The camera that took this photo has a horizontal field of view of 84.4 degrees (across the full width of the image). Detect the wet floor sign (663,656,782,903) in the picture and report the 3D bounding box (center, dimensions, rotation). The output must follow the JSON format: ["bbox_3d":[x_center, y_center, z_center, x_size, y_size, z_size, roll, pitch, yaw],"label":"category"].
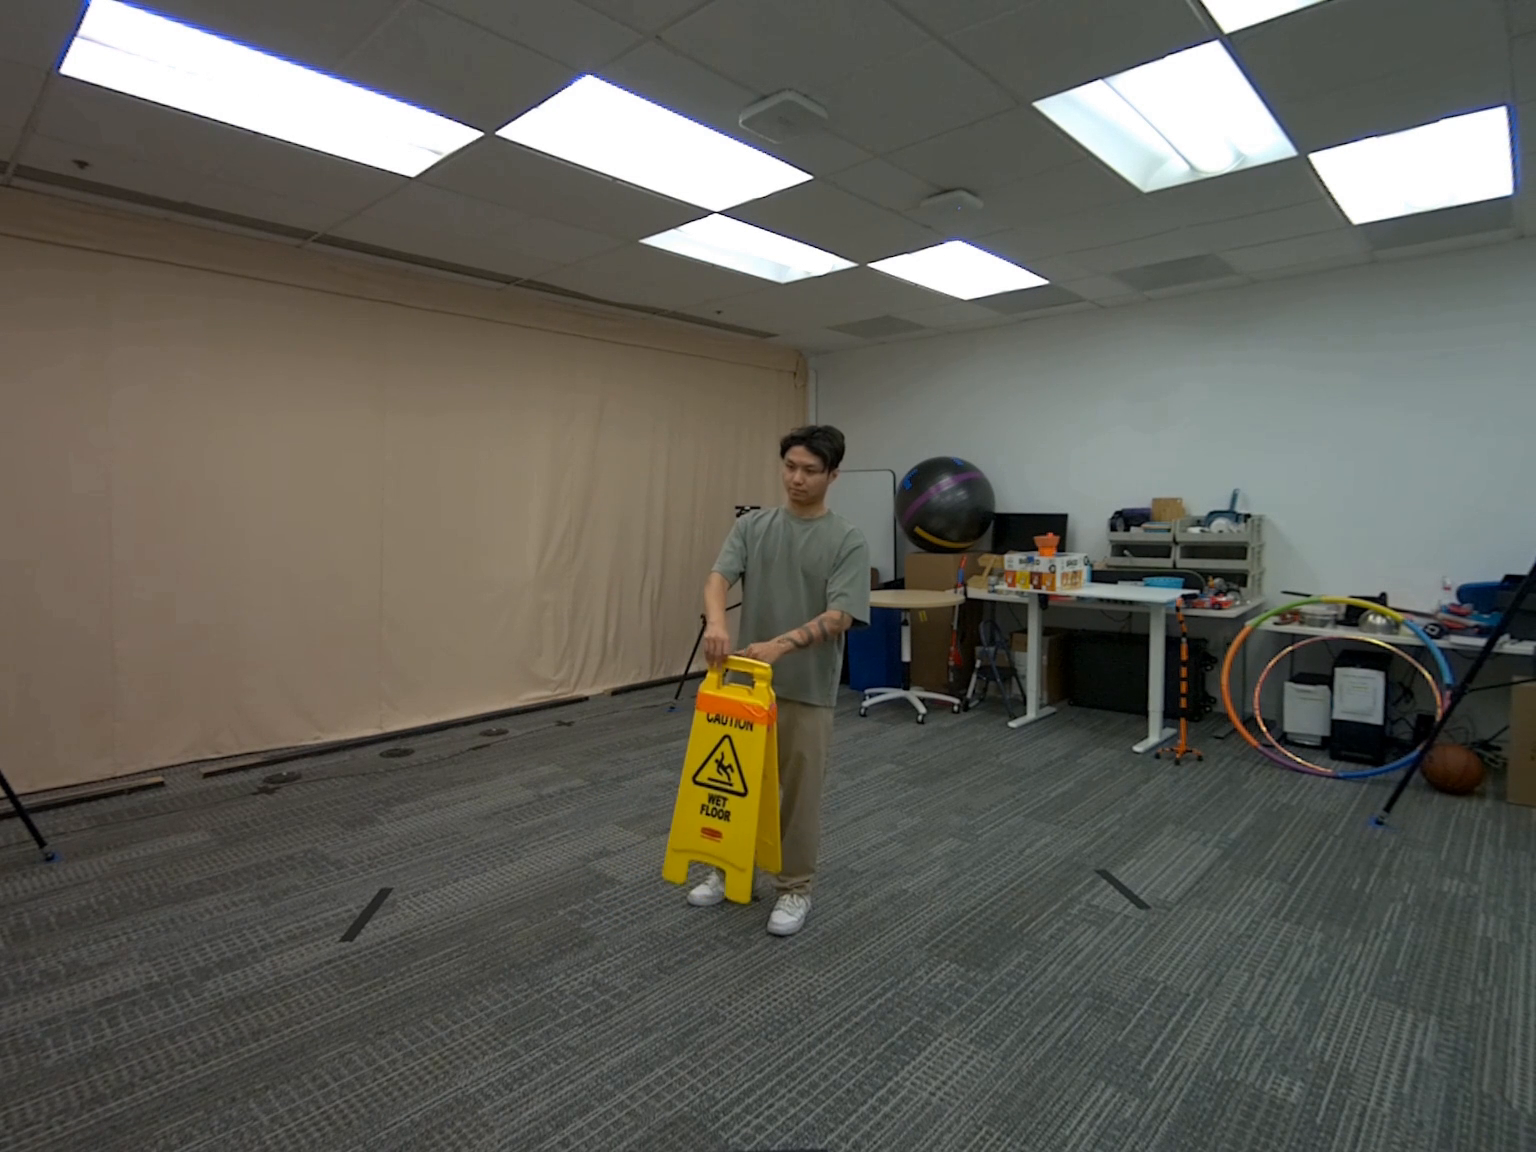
[{"bbox_3d":[-0.102,0.572,2.480,0.290,0.644,0.283,5,4,25],"label":"wet floor sign"}]
